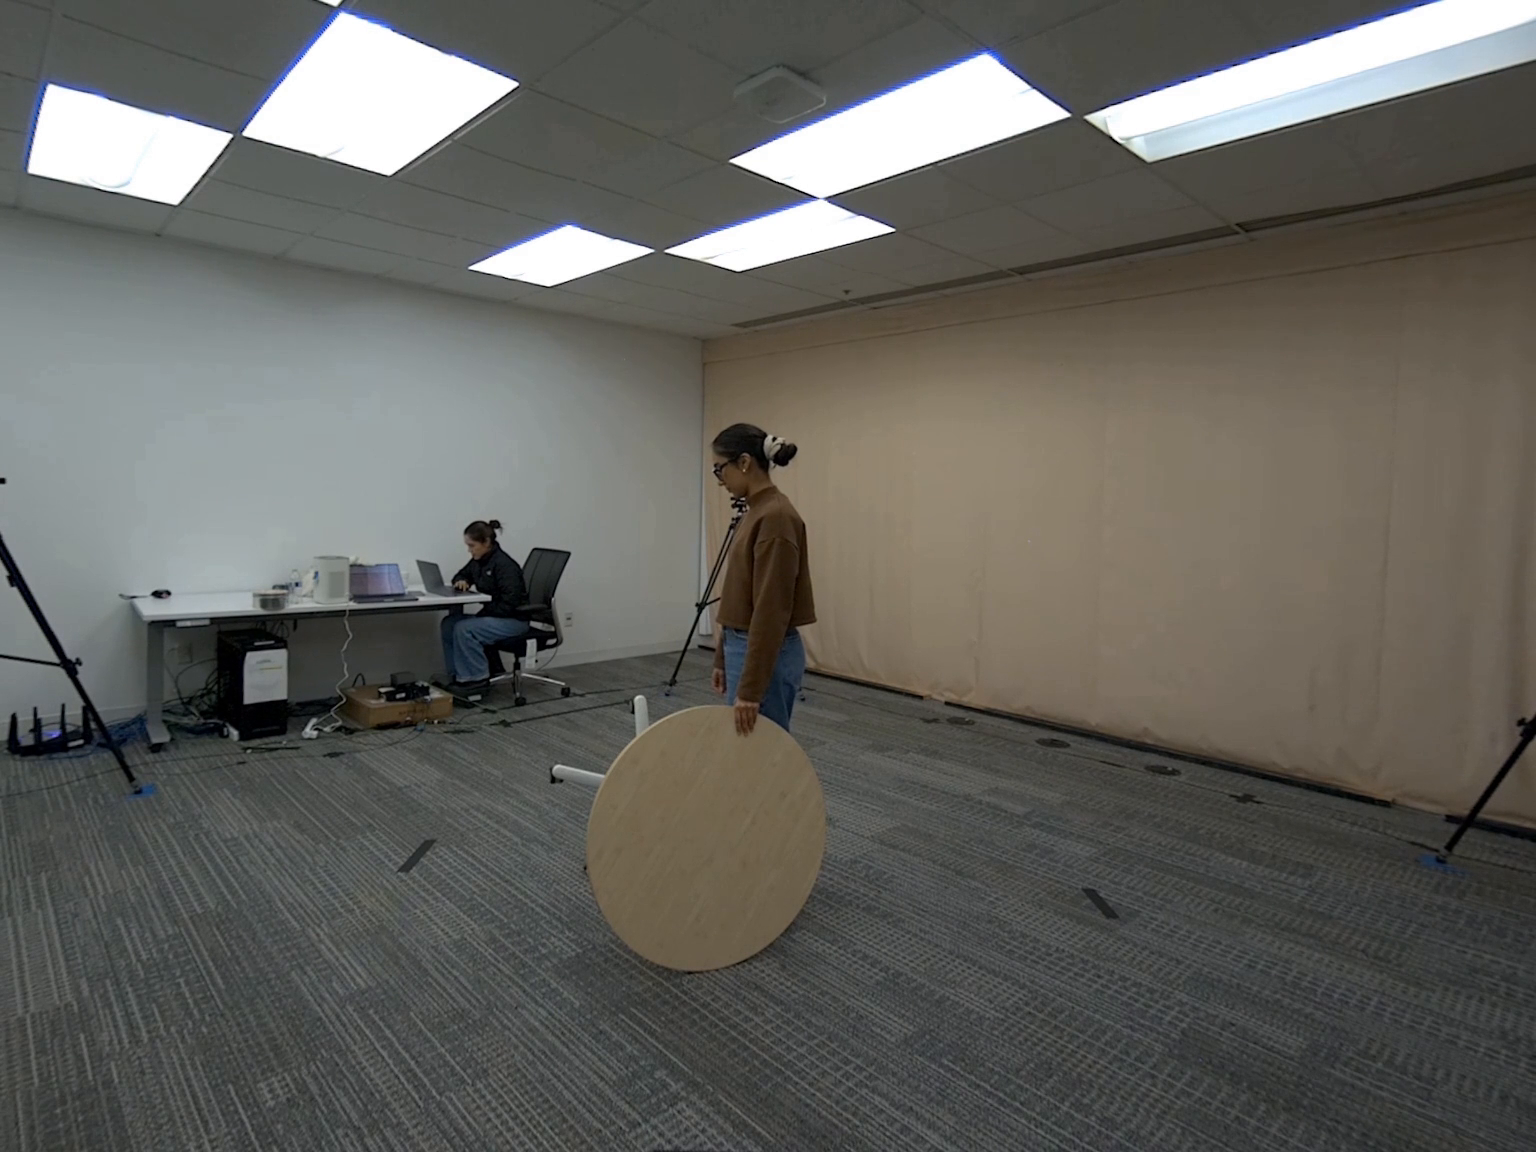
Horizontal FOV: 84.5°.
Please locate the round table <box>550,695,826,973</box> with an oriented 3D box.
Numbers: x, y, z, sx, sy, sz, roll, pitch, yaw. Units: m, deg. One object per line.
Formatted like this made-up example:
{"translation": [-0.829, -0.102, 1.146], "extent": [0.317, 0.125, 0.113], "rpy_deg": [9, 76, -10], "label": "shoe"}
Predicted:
{"translation": [-0.340, 0.790, 2.871], "extent": [0.750, 0.766, 0.806], "rpy_deg": [-1, -3, -25], "label": "round table"}
